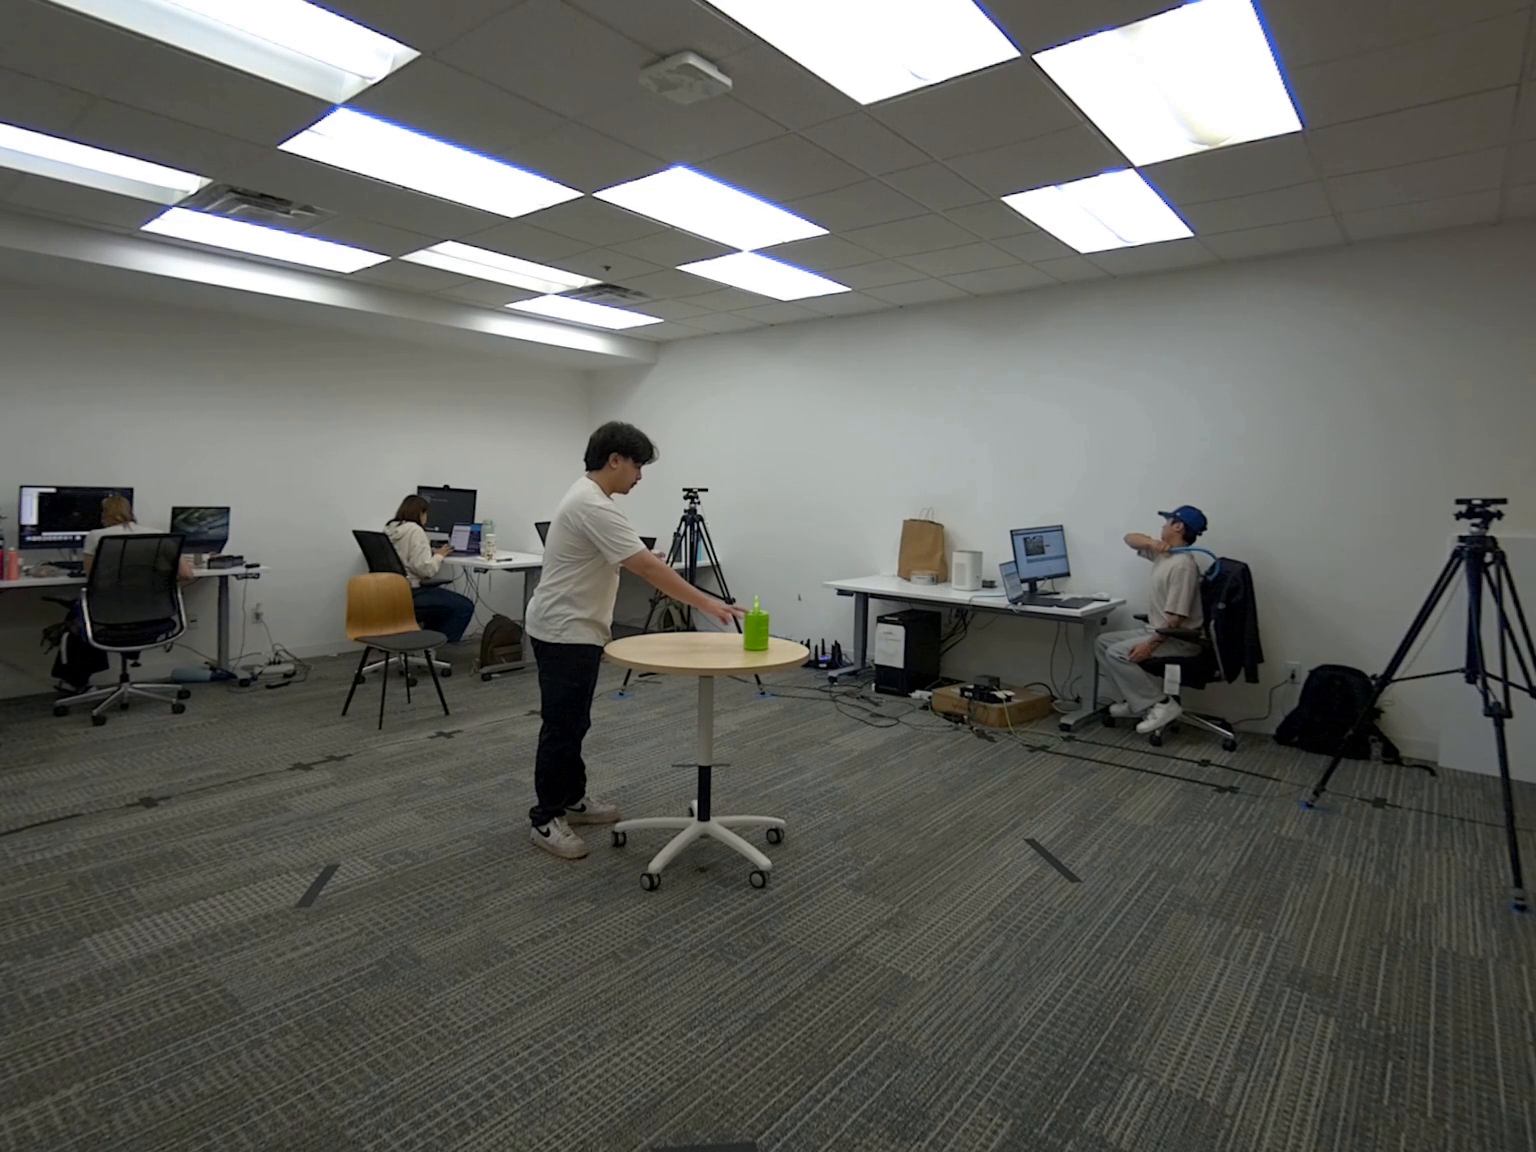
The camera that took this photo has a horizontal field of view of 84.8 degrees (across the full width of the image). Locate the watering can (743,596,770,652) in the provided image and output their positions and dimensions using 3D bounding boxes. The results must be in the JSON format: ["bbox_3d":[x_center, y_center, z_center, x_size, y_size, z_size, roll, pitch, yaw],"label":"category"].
[{"bbox_3d":[-0.047,0.182,3.250,0.100,0.176,0.274,2,5,15],"label":"watering can"}]
